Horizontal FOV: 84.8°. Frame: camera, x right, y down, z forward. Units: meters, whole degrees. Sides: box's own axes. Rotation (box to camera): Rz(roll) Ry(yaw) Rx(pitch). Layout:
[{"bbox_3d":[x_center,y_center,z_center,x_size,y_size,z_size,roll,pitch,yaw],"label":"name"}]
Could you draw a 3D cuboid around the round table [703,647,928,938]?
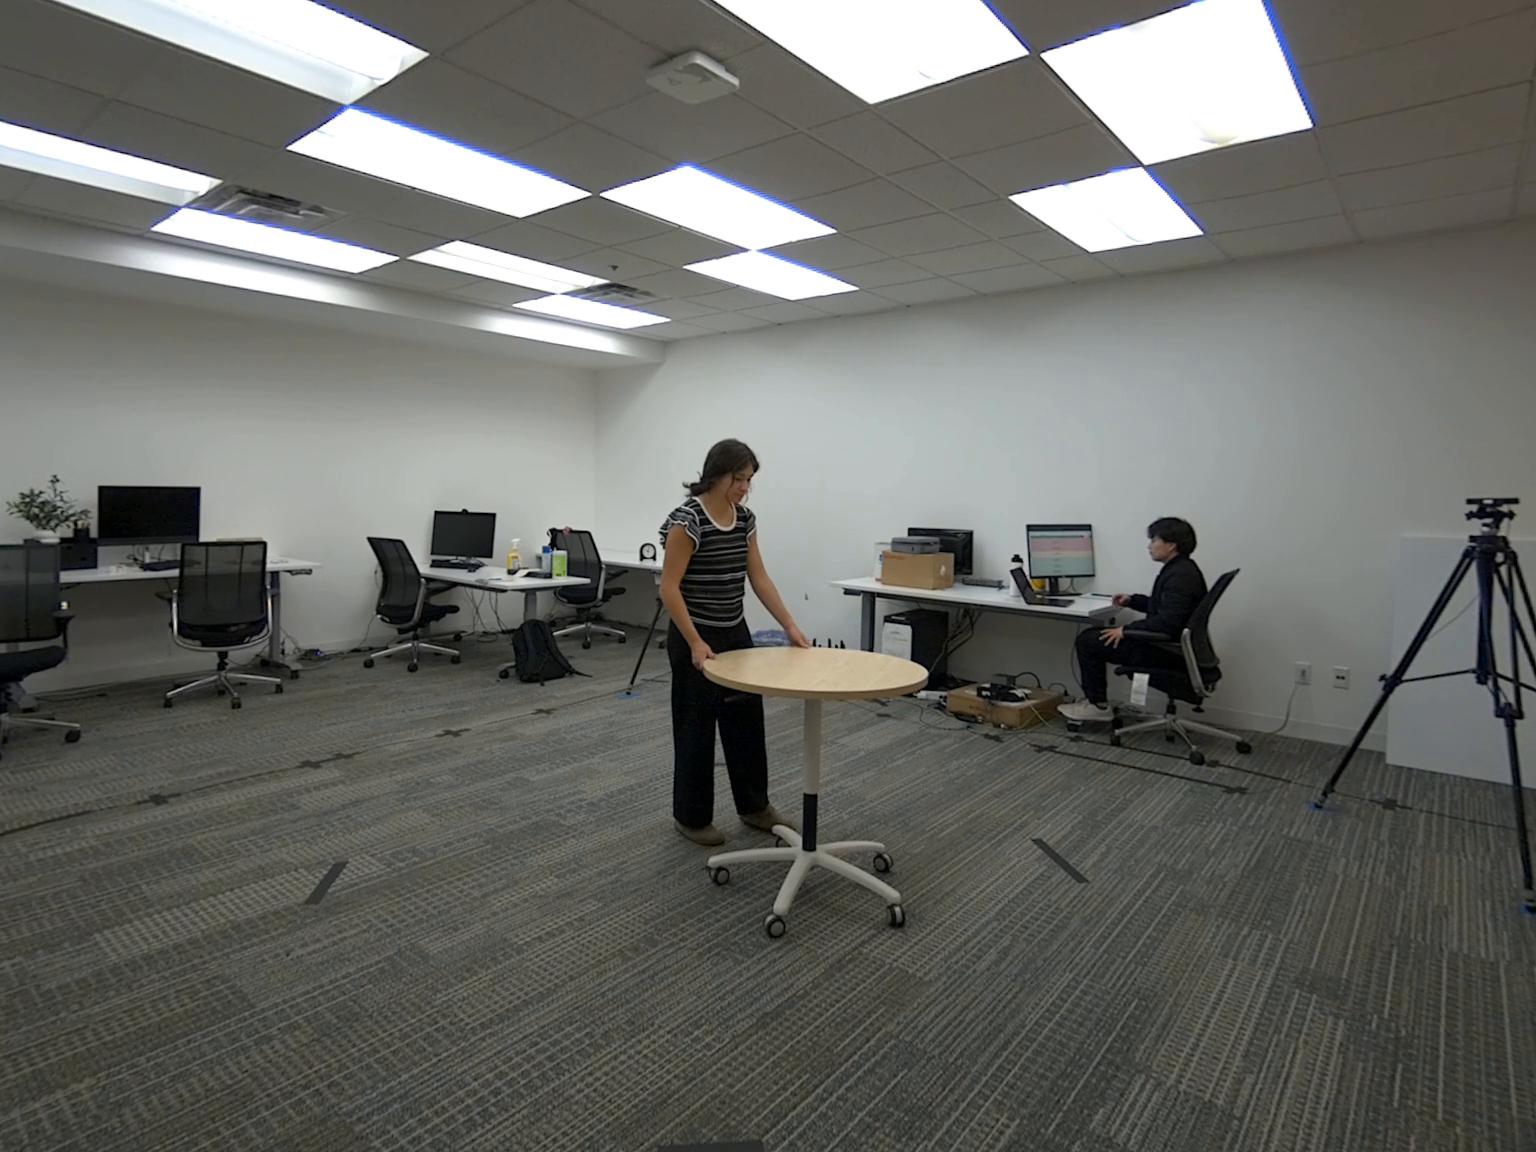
[{"bbox_3d":[0.147,0.703,2.944,0.763,0.792,0.767,1,4,-2],"label":"round table"}]
